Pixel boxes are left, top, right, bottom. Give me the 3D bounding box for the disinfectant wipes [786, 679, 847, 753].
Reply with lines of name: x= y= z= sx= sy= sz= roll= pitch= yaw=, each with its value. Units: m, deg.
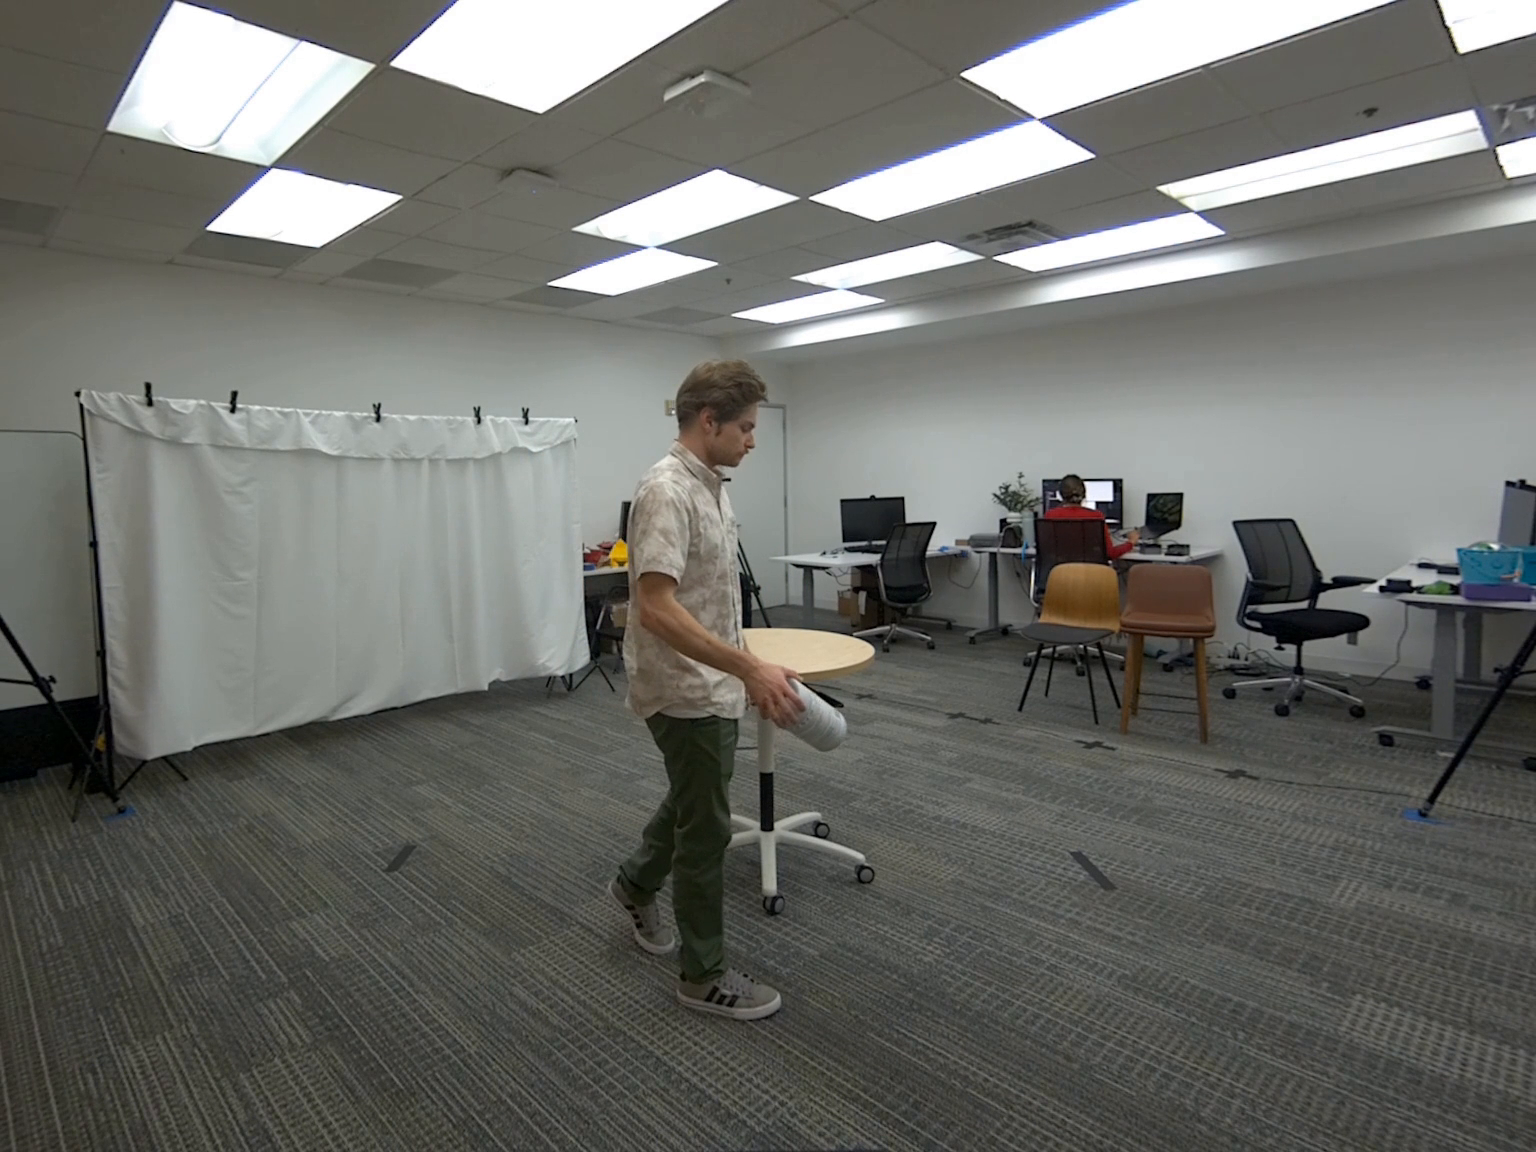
disinfectant wipes: x=0.091 y=0.329 z=2.061 sx=0.121 sy=0.119 sz=0.209 roll=4 pitch=-27 yaw=44
